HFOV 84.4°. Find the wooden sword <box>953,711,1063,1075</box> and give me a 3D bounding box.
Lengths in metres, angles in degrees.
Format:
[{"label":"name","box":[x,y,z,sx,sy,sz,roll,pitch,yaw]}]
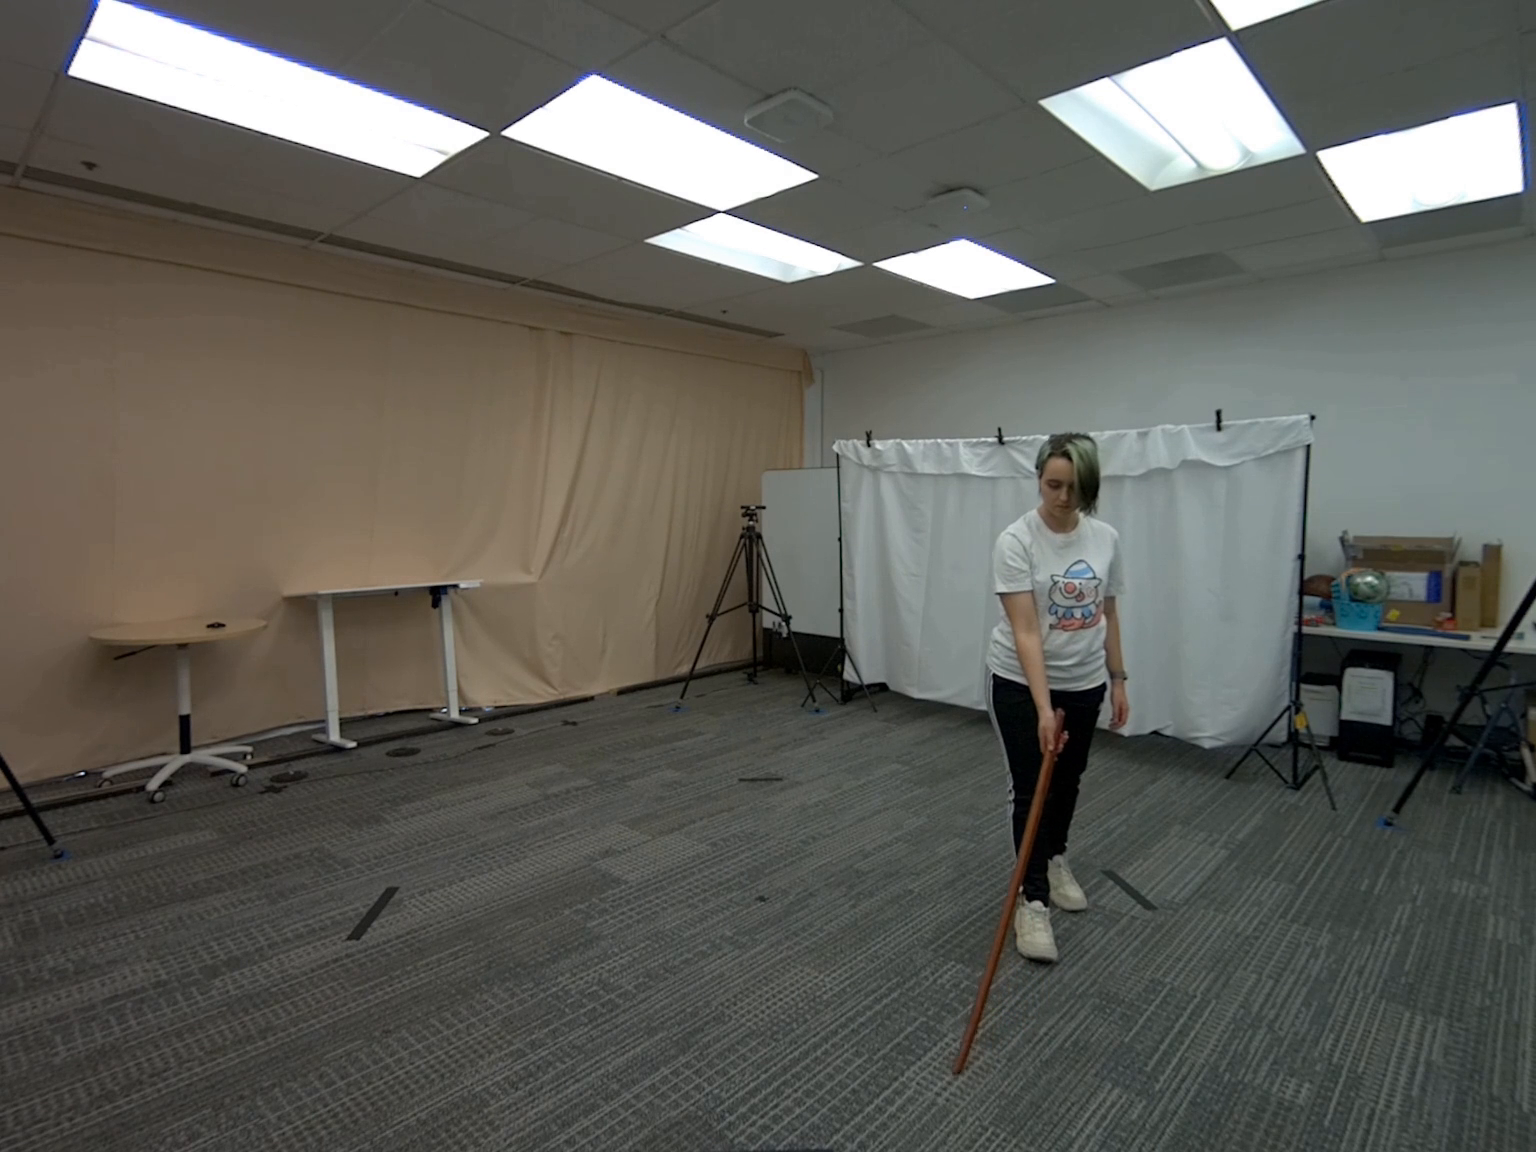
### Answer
[{"label":"wooden sword","box":[0.698,0.824,2.302,0.025,1.024,0.050,11,-33,34]}]
